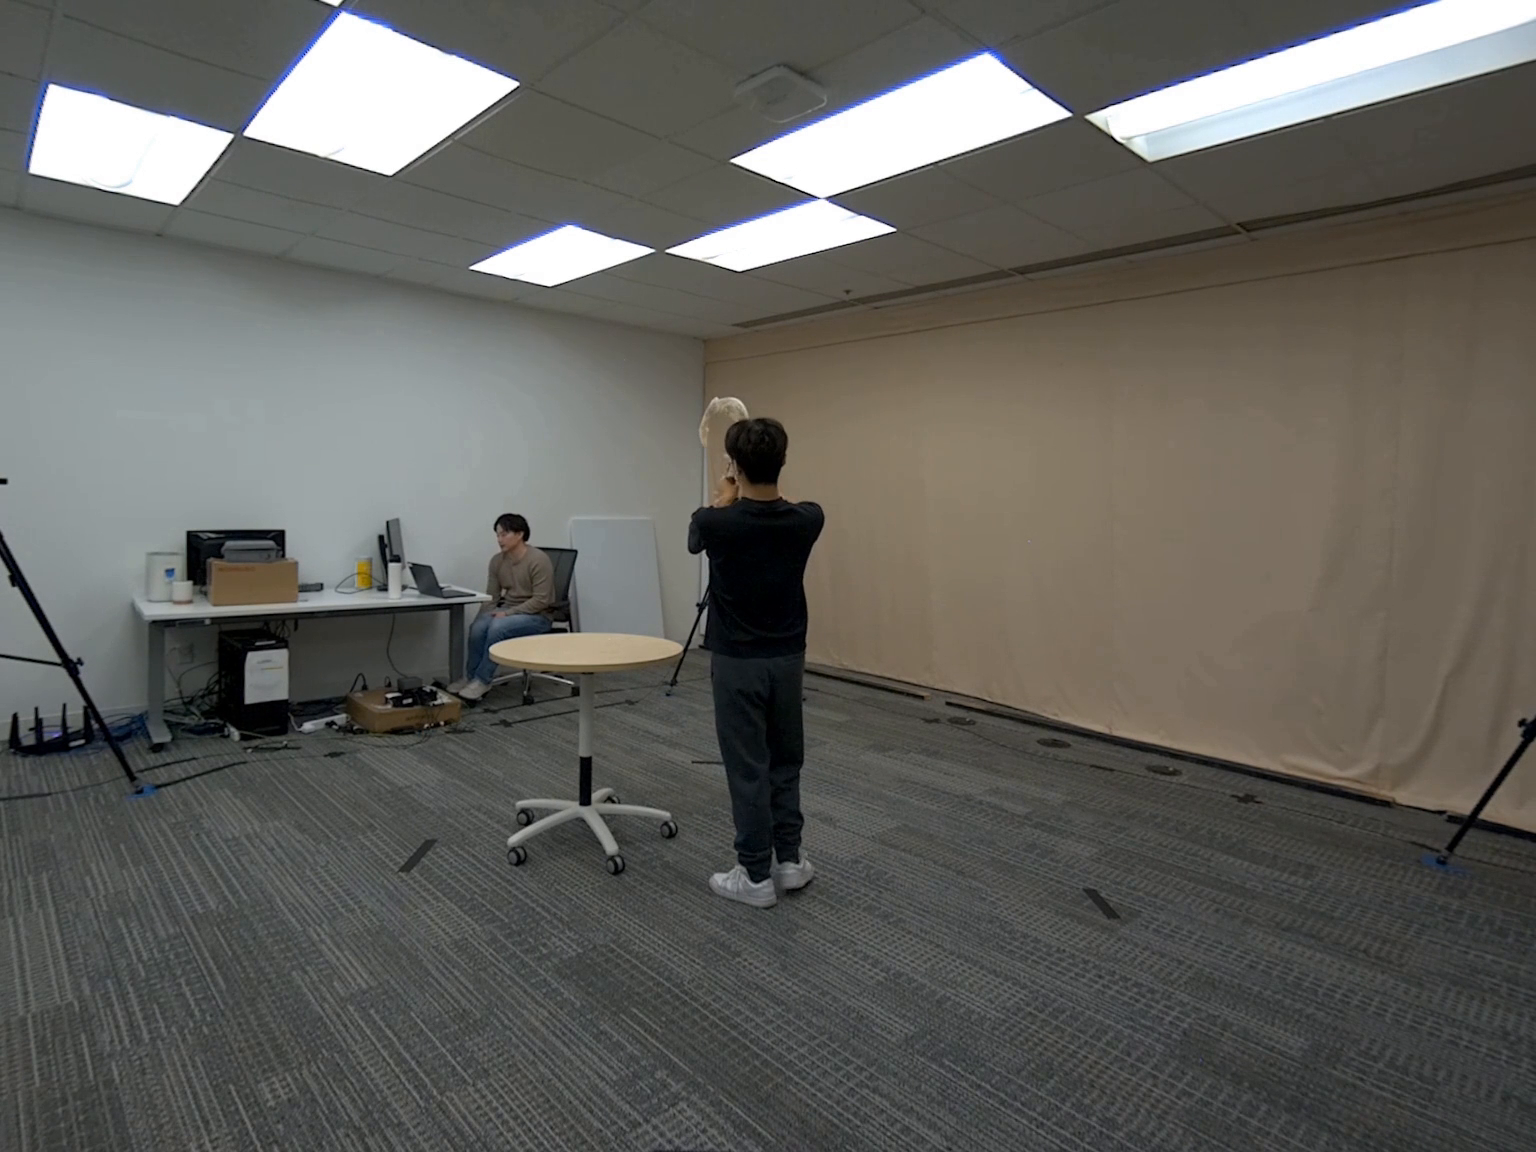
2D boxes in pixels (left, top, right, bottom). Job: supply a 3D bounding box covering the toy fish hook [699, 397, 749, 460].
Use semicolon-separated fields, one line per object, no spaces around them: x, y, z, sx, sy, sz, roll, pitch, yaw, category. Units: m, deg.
-0.181;-0.449;3.323;0.230;0.504;0.047;6;7;34;toy fish hook
